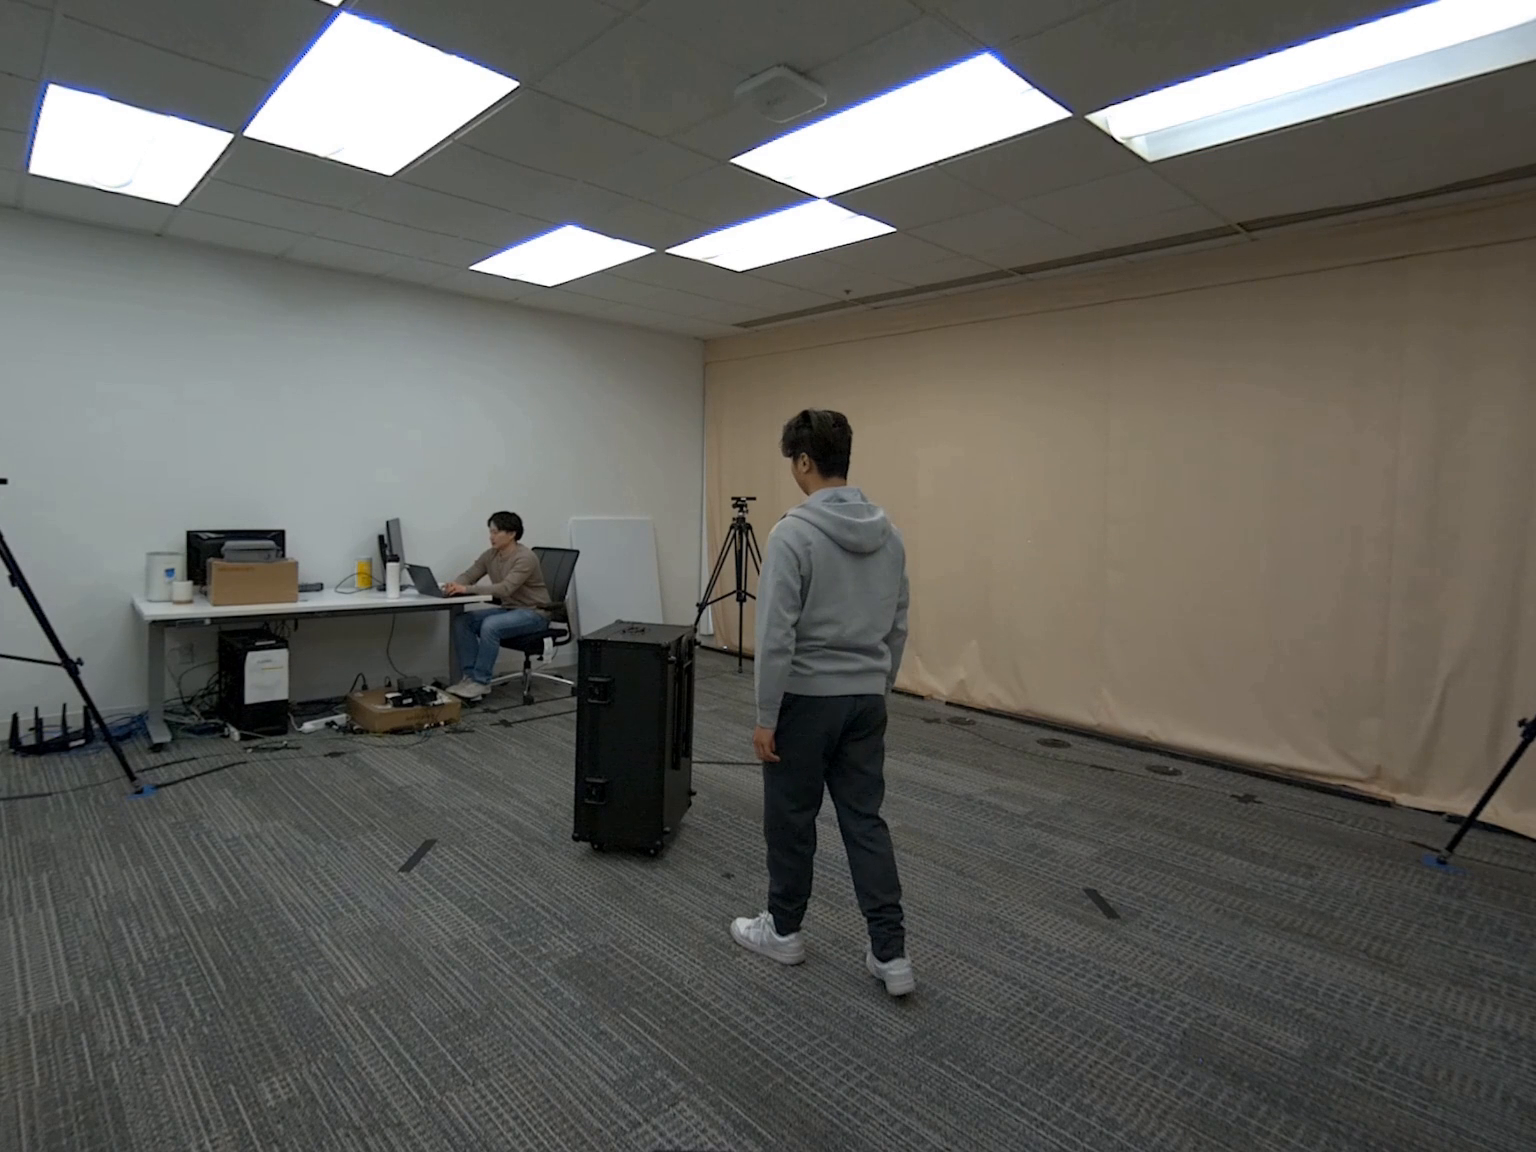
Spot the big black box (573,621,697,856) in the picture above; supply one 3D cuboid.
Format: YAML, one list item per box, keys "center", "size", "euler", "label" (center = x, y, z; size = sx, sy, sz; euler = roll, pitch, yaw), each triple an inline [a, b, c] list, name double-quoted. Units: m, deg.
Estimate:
- center: [-0.521, 0.647, 3.403]
  size: [0.400, 0.859, 0.518]
  euler: [4, 4, 9]
  label: "big black box"
